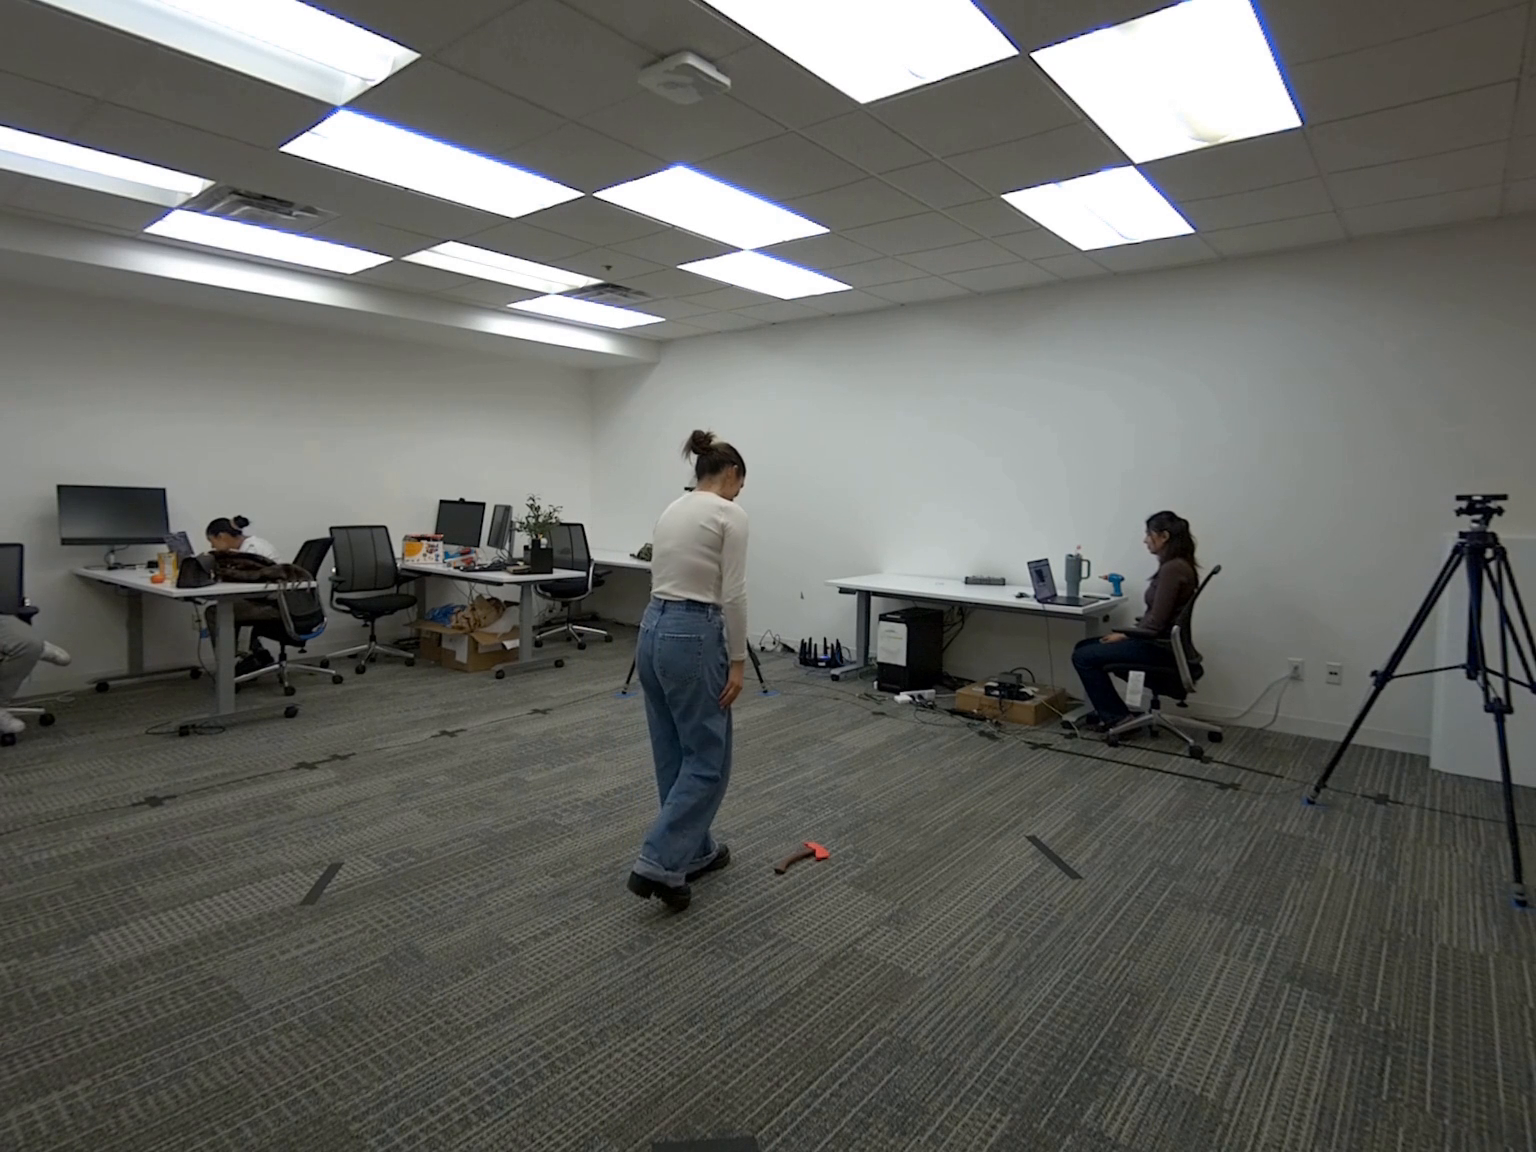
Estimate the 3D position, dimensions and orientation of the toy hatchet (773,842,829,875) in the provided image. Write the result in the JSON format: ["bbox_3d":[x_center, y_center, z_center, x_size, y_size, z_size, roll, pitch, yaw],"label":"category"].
[{"bbox_3d":[0.131,1.054,3.164,0.135,0.029,0.264,7,10,26],"label":"toy hatchet"}]
